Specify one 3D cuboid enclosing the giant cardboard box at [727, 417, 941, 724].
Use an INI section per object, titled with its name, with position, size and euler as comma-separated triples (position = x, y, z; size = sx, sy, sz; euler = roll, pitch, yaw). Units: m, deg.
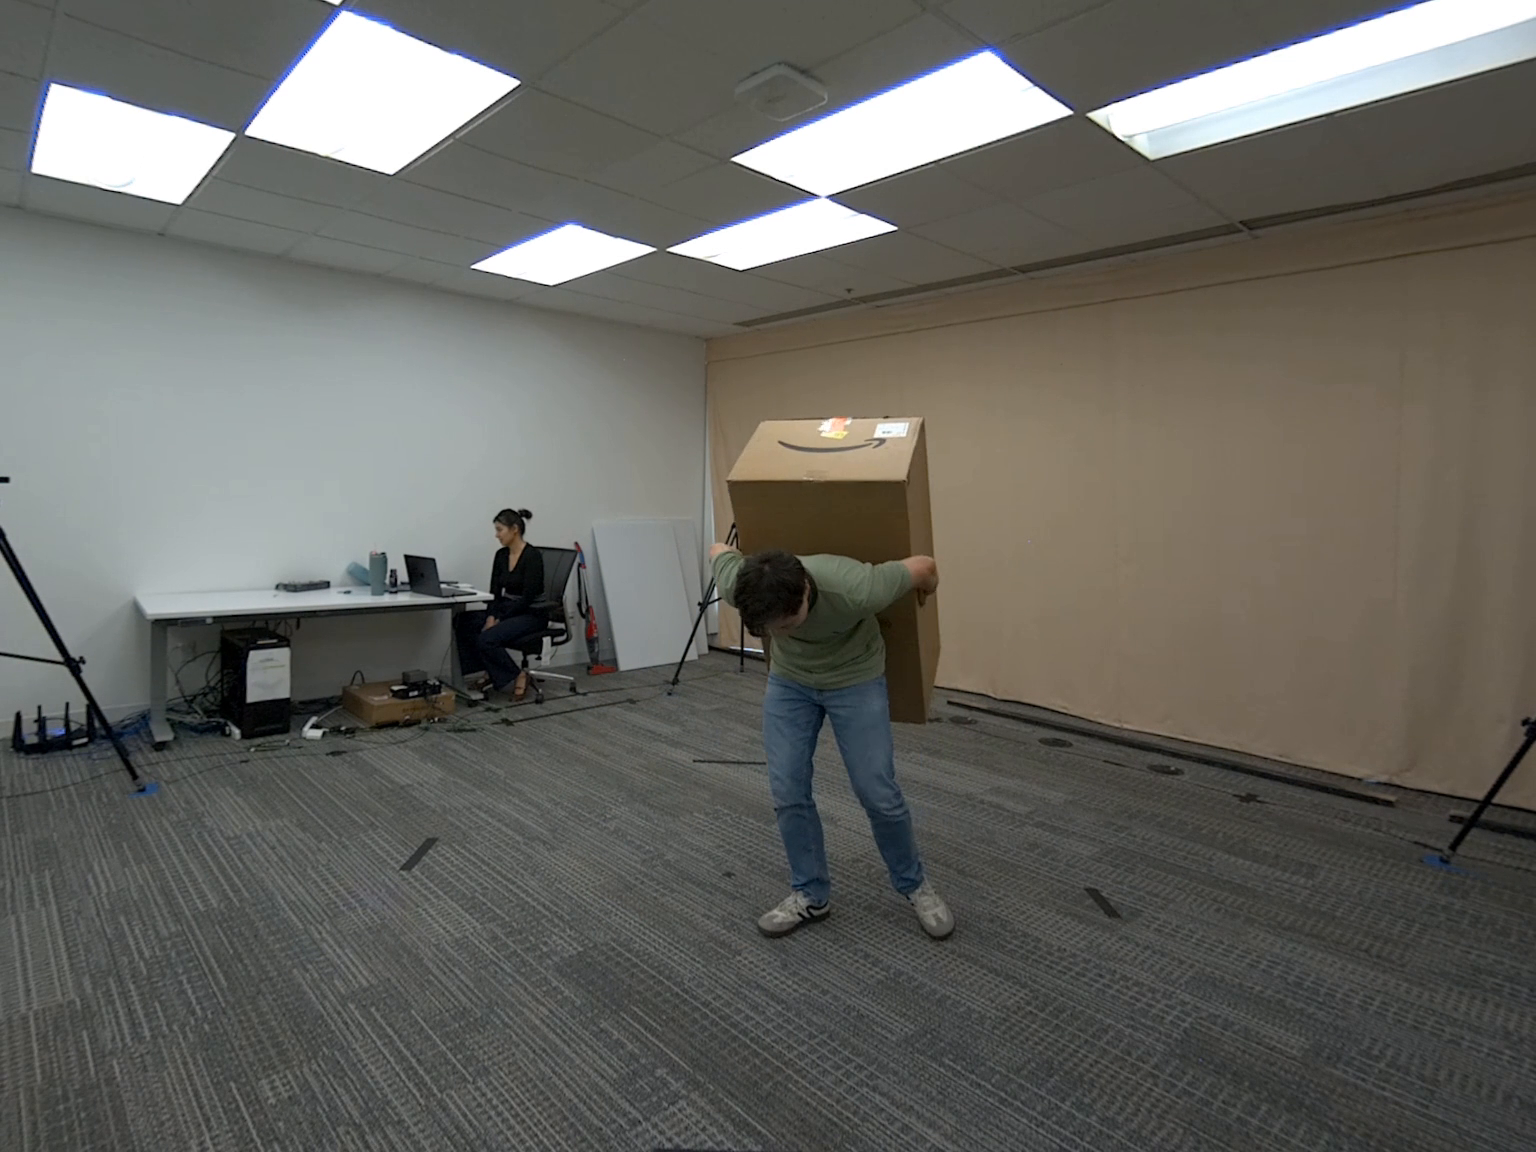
[giant cardboard box]
position = 0.270, -0.011, 3.015
size = 0.587, 1.001, 0.429
euler = 3, 36, 21
